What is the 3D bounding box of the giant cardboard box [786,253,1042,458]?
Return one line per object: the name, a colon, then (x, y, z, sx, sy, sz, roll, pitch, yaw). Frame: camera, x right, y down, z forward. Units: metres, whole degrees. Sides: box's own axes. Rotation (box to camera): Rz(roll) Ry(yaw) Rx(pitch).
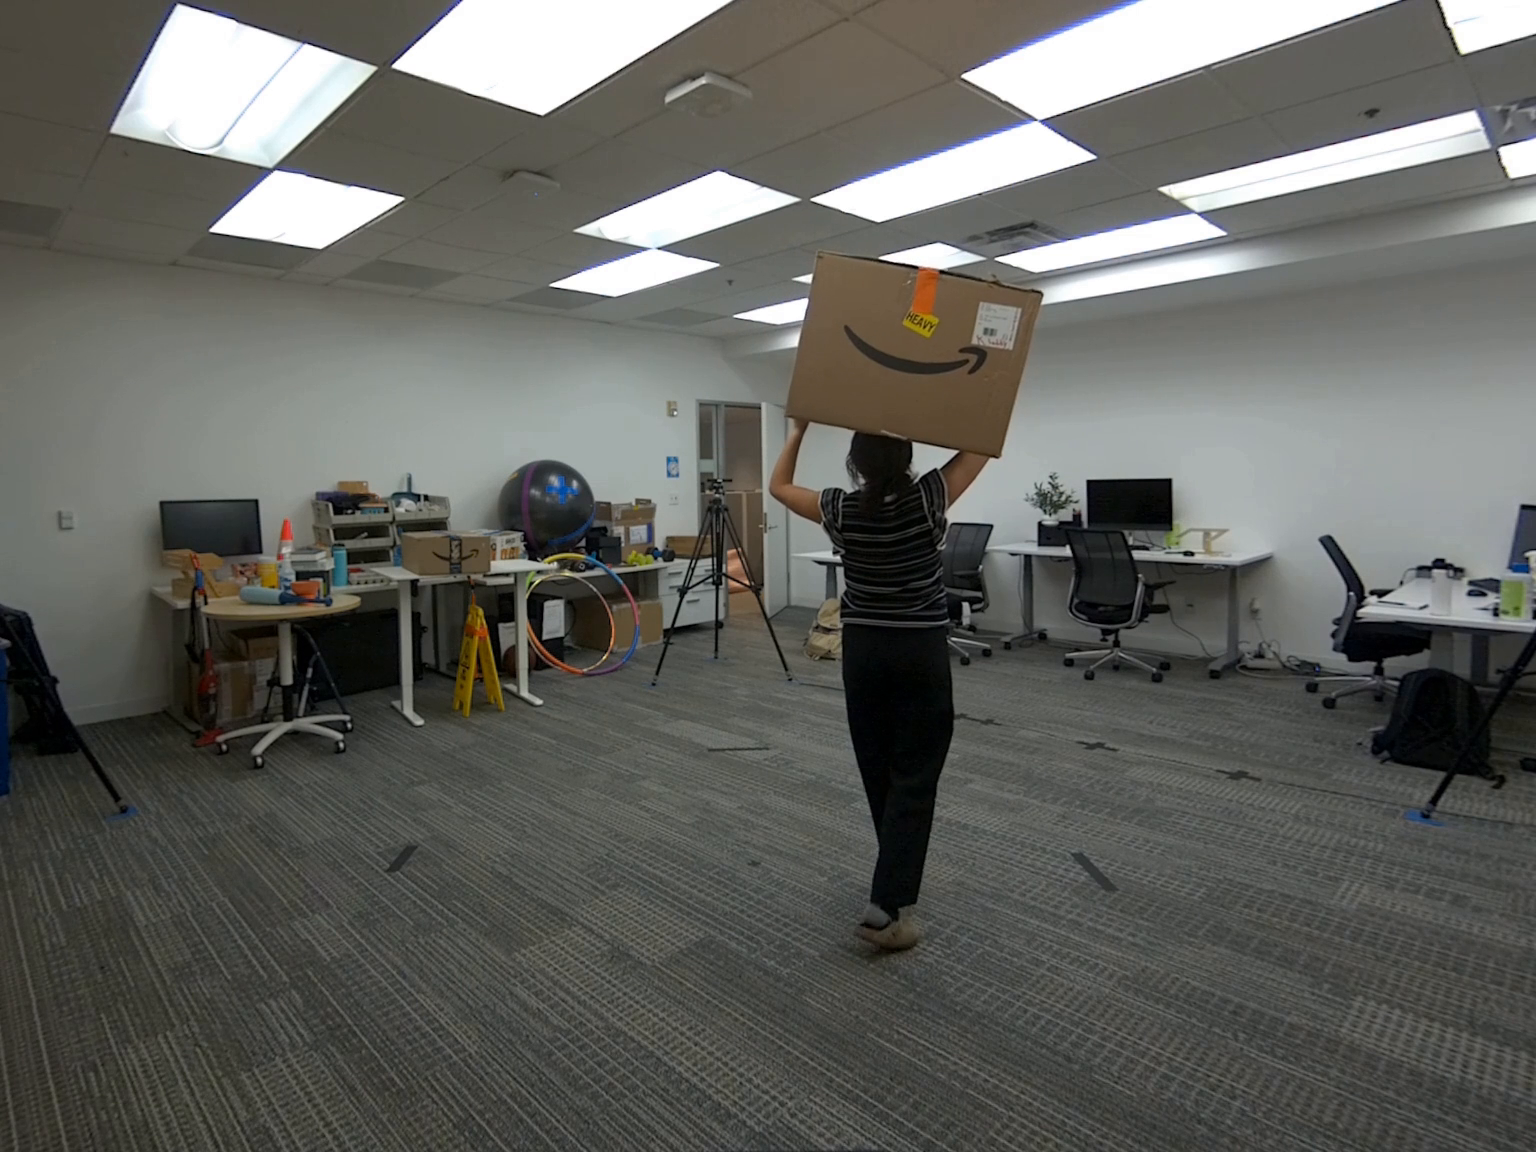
giant cardboard box: (0.408, -0.703, 2.662, 0.580, 0.421, 1.033, 11, 17, 2)
